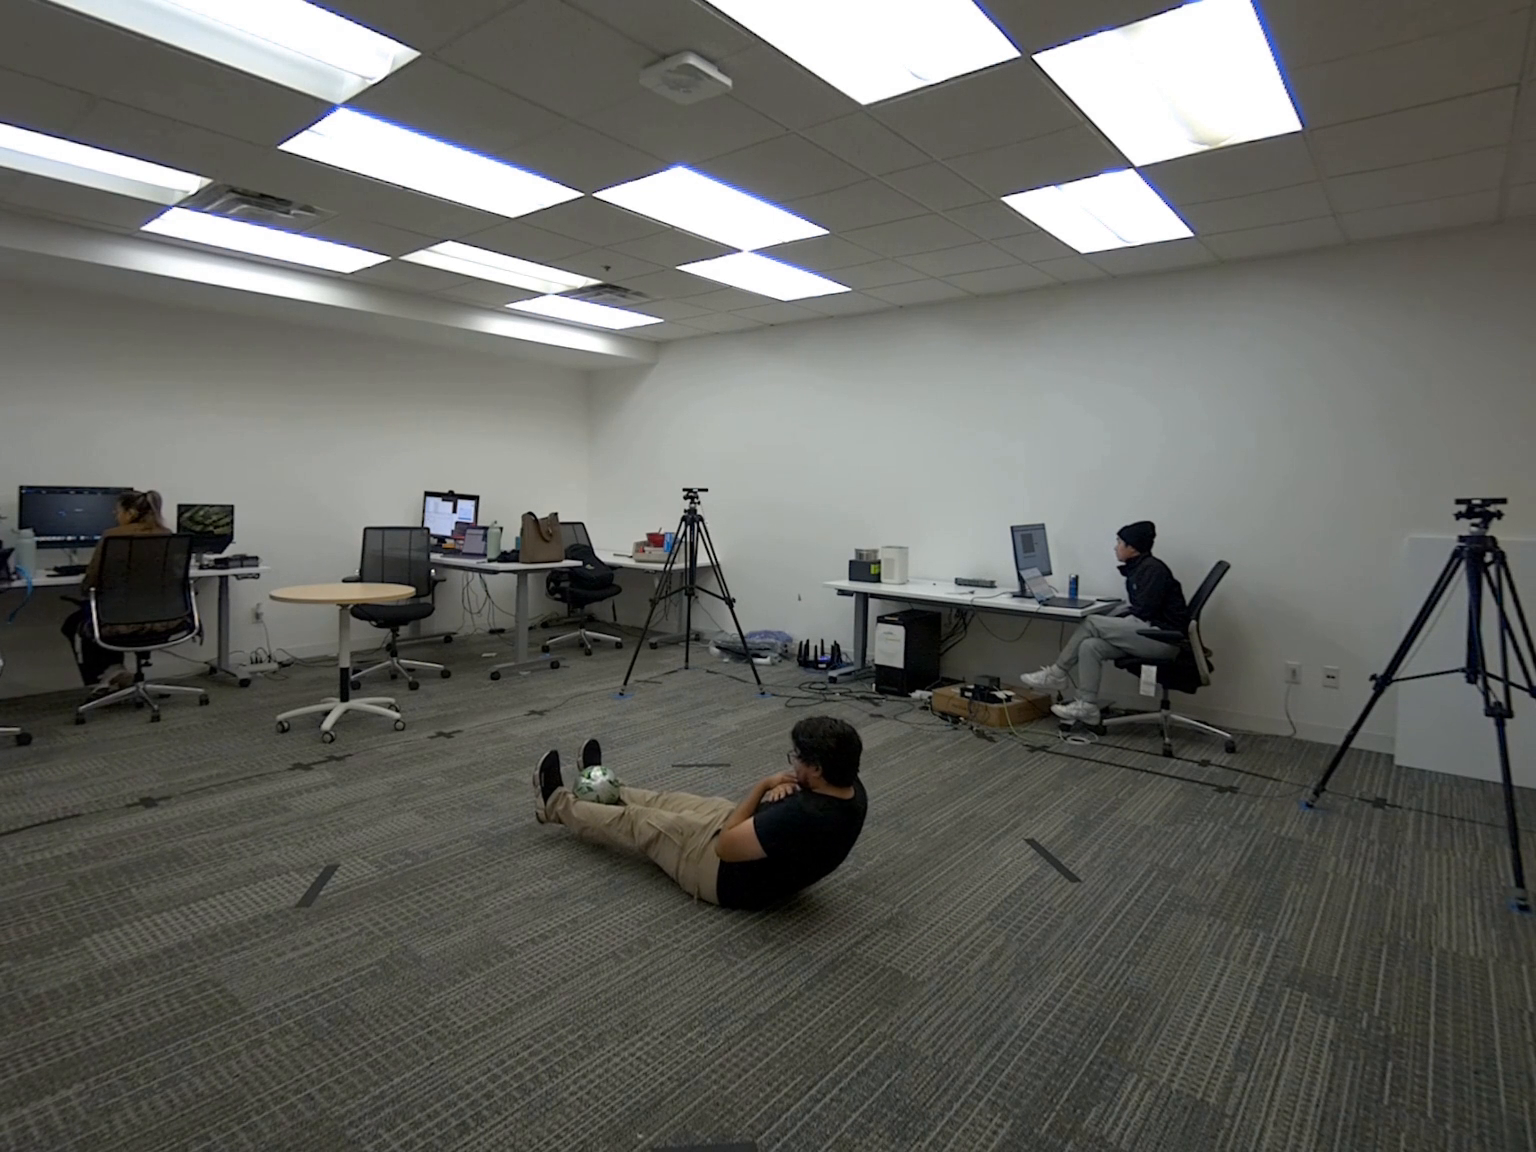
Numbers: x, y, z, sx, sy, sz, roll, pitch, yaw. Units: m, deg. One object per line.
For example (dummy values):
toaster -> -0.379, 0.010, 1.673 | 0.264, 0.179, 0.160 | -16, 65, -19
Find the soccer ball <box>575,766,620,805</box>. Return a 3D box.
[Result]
soccer ball -> -0.701, 0.854, 3.394 | 0.187, 0.187, 0.188 | 0, 4, -2
